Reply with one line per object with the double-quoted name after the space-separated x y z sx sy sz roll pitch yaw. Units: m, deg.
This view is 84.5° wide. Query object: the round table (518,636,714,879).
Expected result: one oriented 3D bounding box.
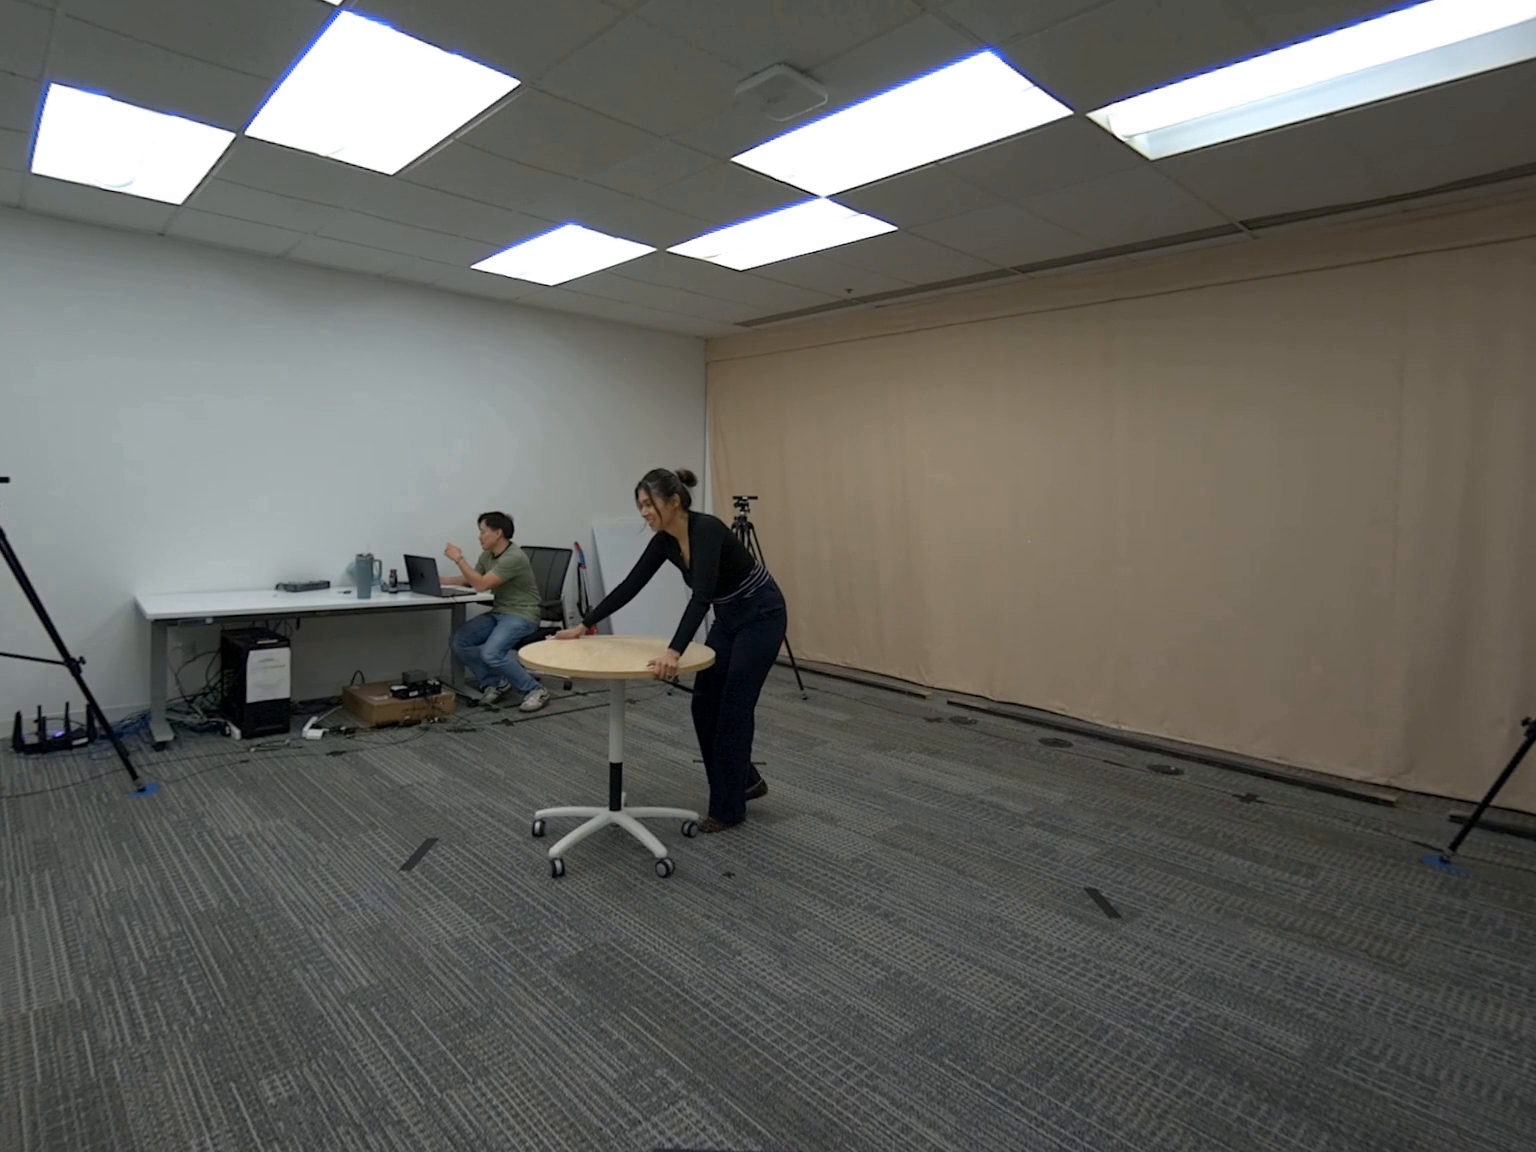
-0.605 0.687 3.322 0.763 0.792 0.766 1 4 -1 "round table"
